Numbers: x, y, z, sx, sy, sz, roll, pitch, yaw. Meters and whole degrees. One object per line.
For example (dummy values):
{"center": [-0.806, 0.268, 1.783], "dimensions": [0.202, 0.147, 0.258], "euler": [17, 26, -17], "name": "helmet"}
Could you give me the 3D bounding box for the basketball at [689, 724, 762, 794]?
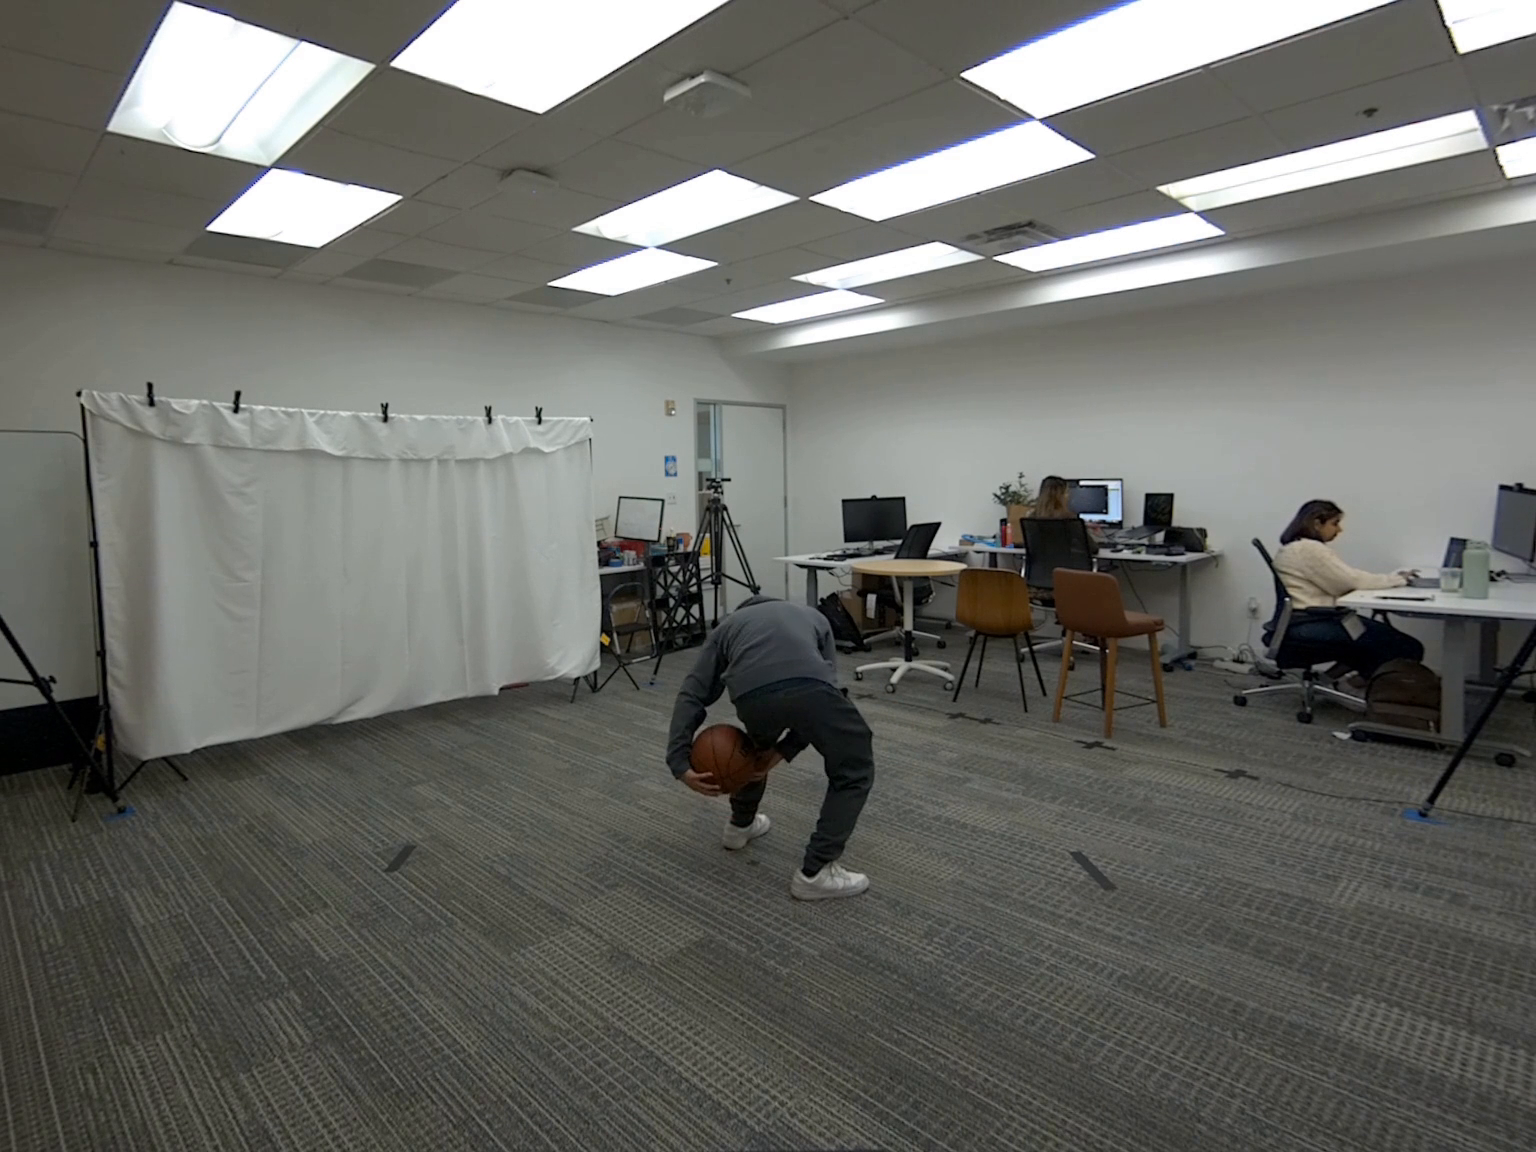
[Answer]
{"center": [-0.142, 0.641, 3.000], "dimensions": [0.236, 0.235, 0.237], "euler": [-1, 5, -2], "name": "basketball"}
